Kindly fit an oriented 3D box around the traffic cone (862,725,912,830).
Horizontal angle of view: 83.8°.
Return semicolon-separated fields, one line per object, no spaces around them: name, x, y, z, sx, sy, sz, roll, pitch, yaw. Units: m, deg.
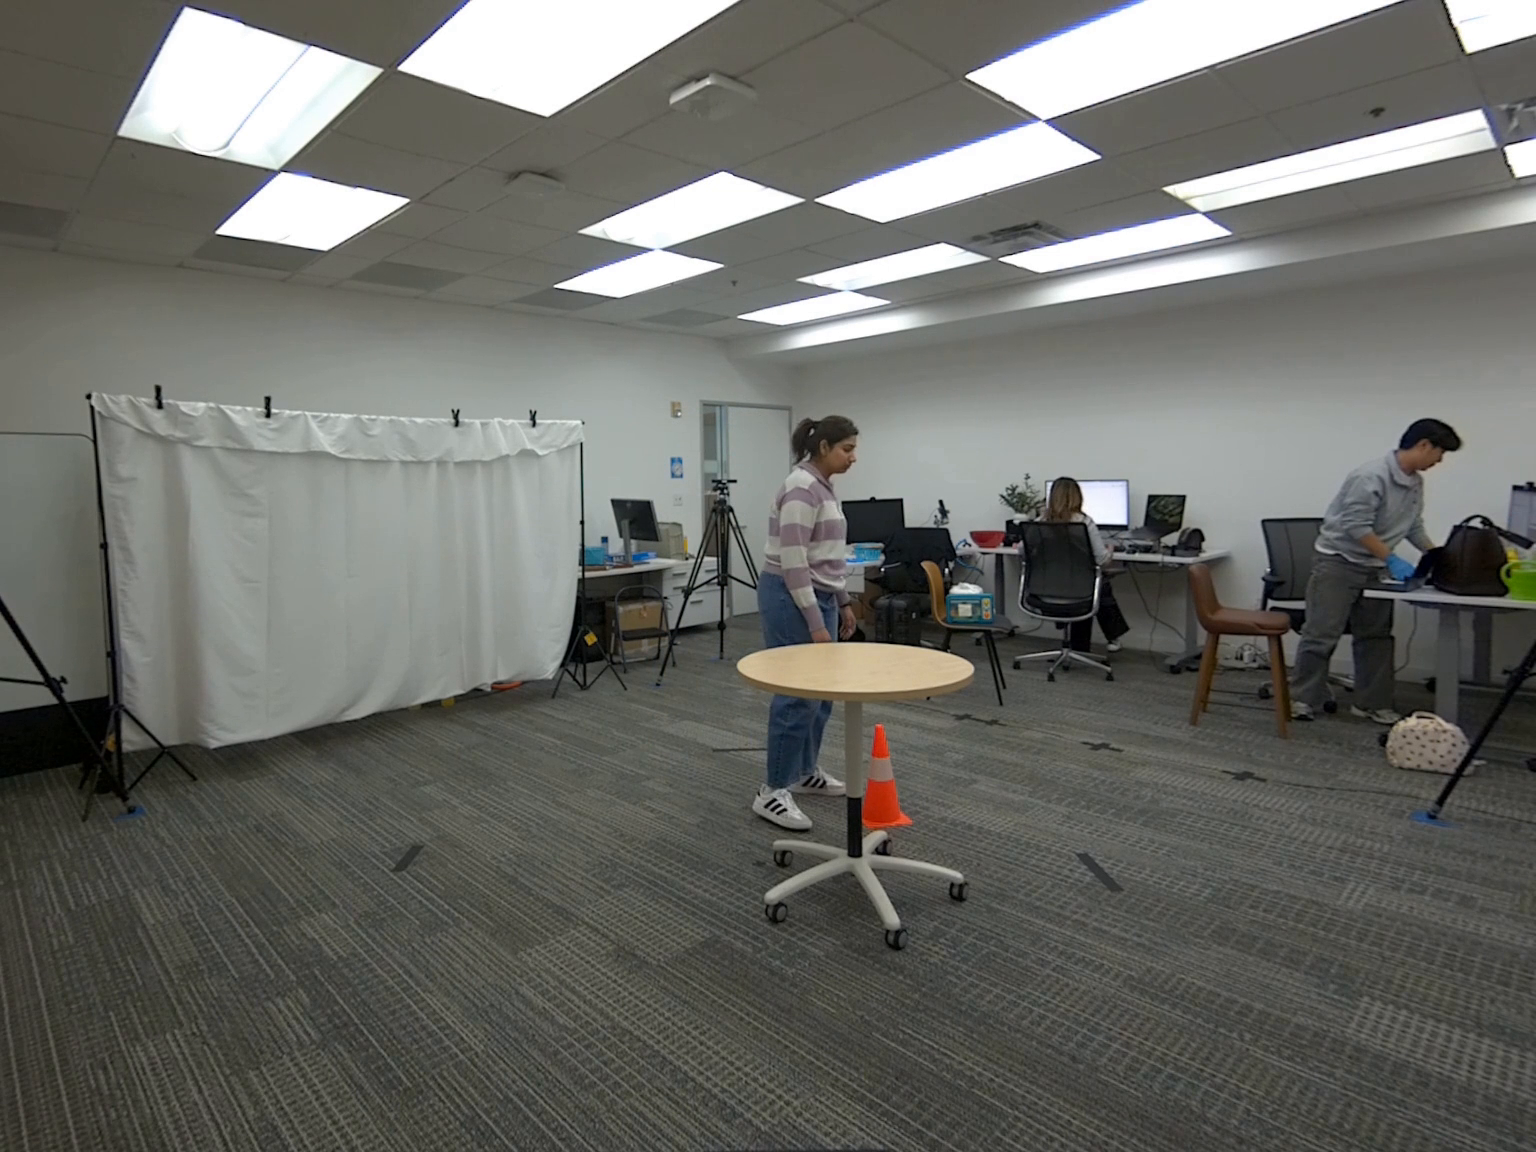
traffic cone;0.469;0.809;3.509;0.202;0.381;0.207;-2;7;-17
